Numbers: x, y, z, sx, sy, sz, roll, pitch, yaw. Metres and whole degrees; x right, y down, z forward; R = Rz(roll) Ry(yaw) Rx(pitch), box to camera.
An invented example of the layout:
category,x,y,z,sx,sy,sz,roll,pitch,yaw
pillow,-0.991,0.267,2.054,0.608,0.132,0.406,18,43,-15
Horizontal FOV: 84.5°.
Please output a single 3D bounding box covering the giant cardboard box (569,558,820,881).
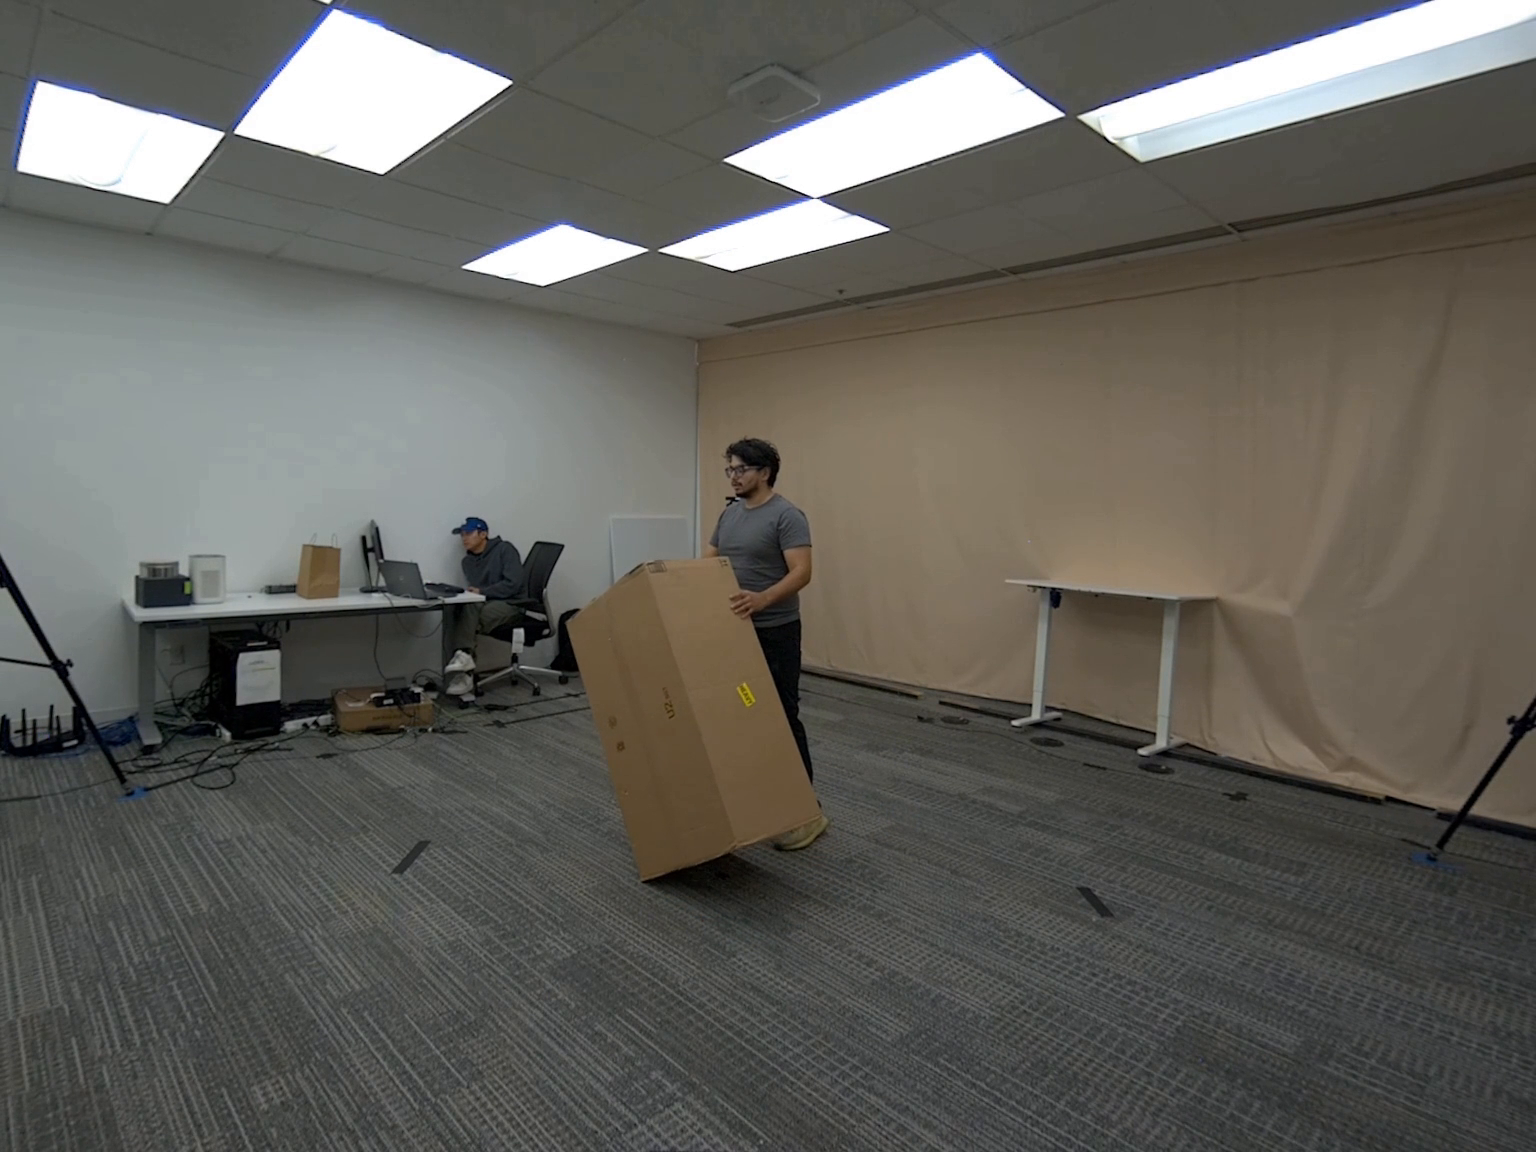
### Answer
category,x,y,z,sx,sy,sz,roll,pitch,yaw
giant cardboard box,-0.315,0.520,3.159,0.416,1.043,0.581,-2,-25,-45
